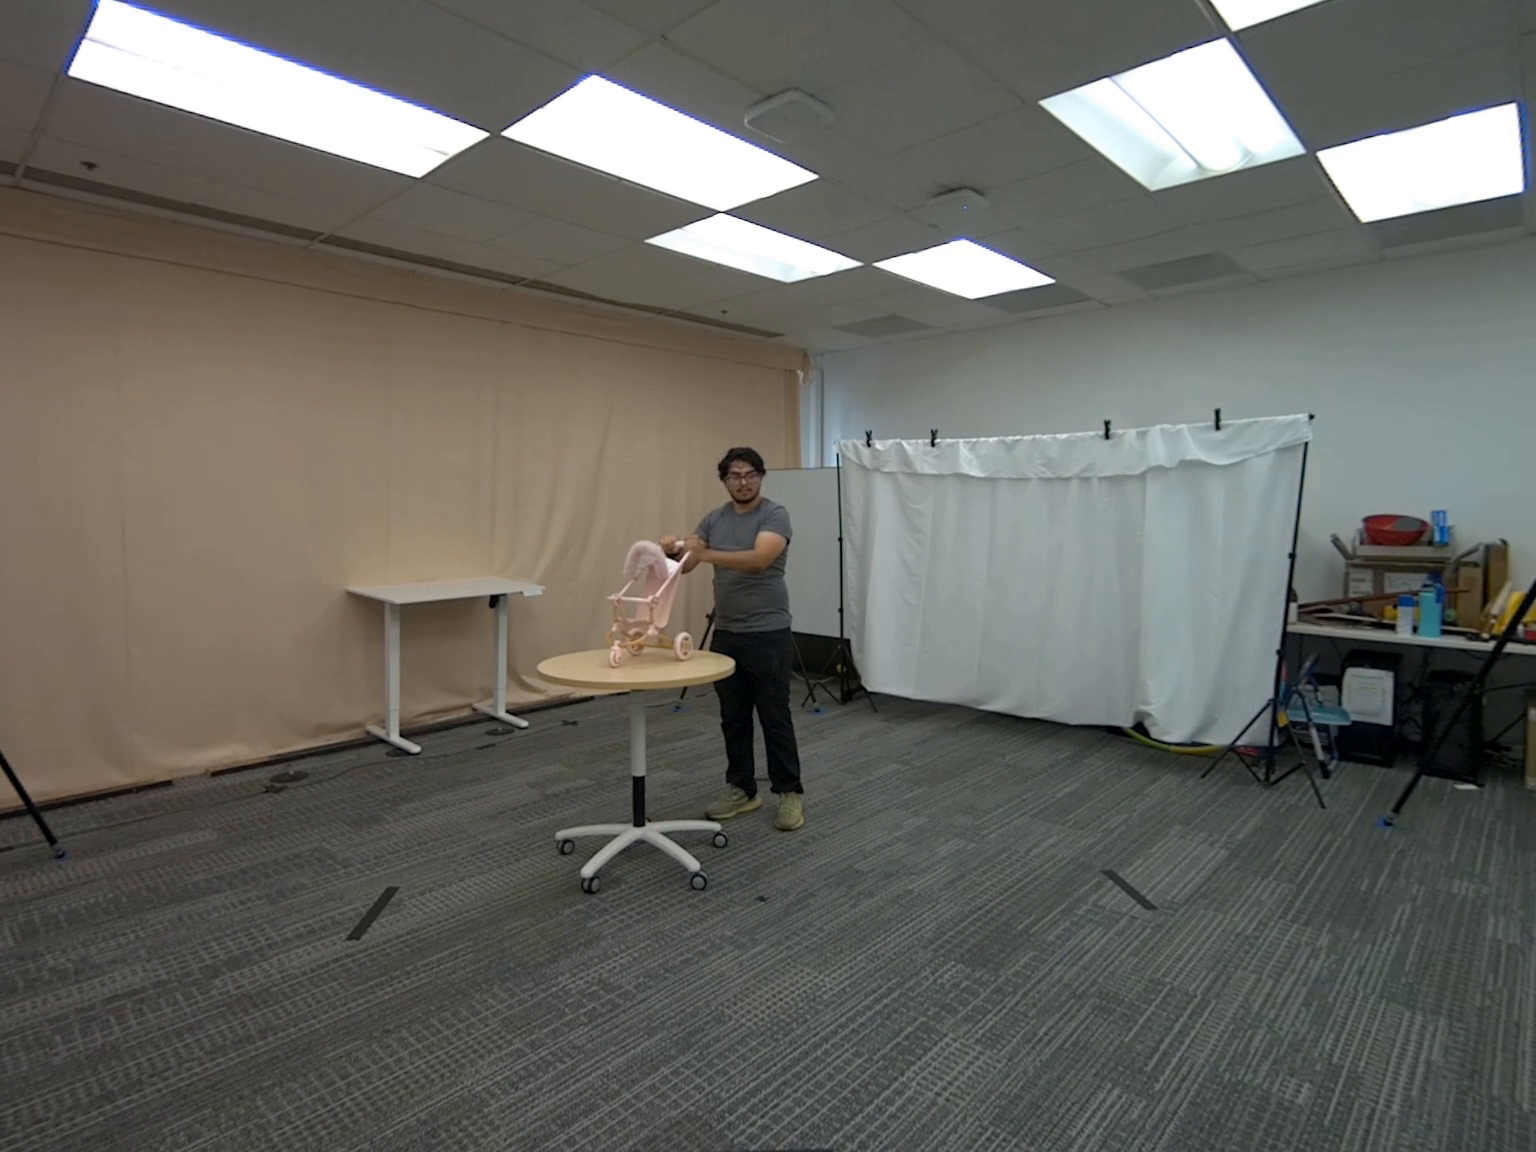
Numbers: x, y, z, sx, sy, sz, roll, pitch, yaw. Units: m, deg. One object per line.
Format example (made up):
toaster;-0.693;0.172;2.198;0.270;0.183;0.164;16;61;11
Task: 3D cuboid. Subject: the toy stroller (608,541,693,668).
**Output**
toy stroller;-0.486;0.105;3.339;0.290;0.537;0.329;1;-9;38
